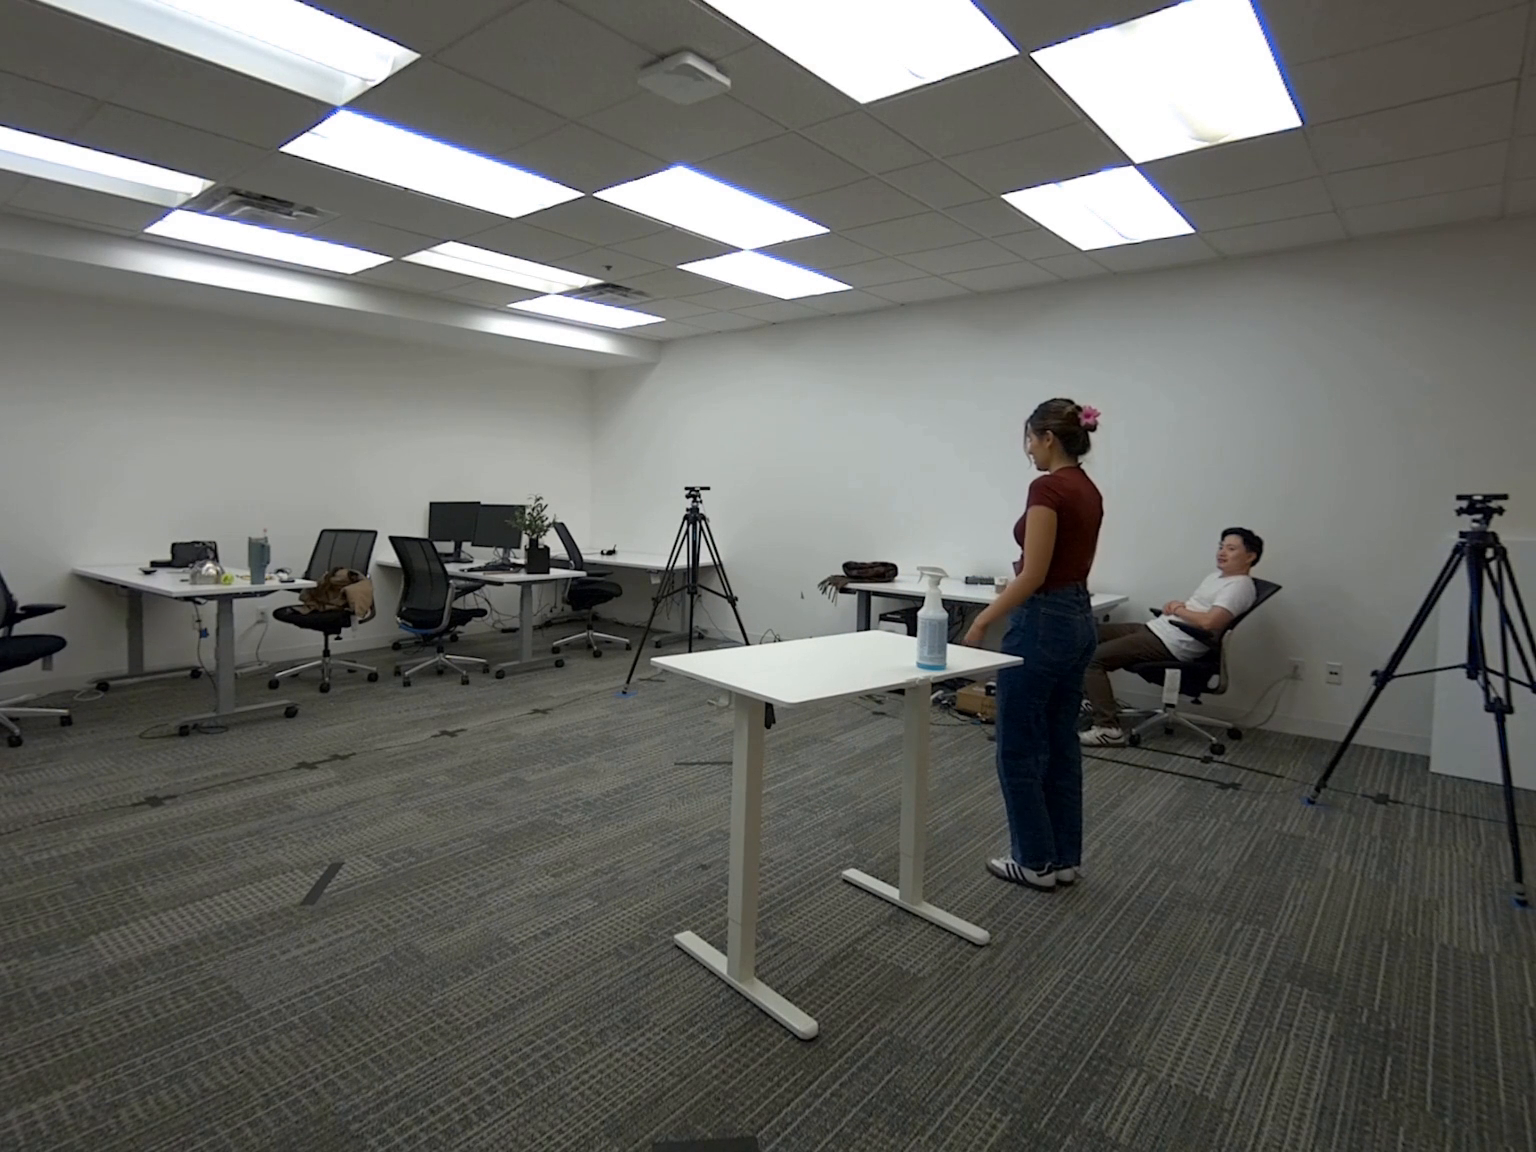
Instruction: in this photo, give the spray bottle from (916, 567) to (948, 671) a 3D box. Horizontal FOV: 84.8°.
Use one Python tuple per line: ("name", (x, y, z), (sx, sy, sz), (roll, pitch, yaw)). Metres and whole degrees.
("spray bottle", (0.473, 0.119, 2.464), (0.092, 0.297, 0.085), (1, 2, 30))
